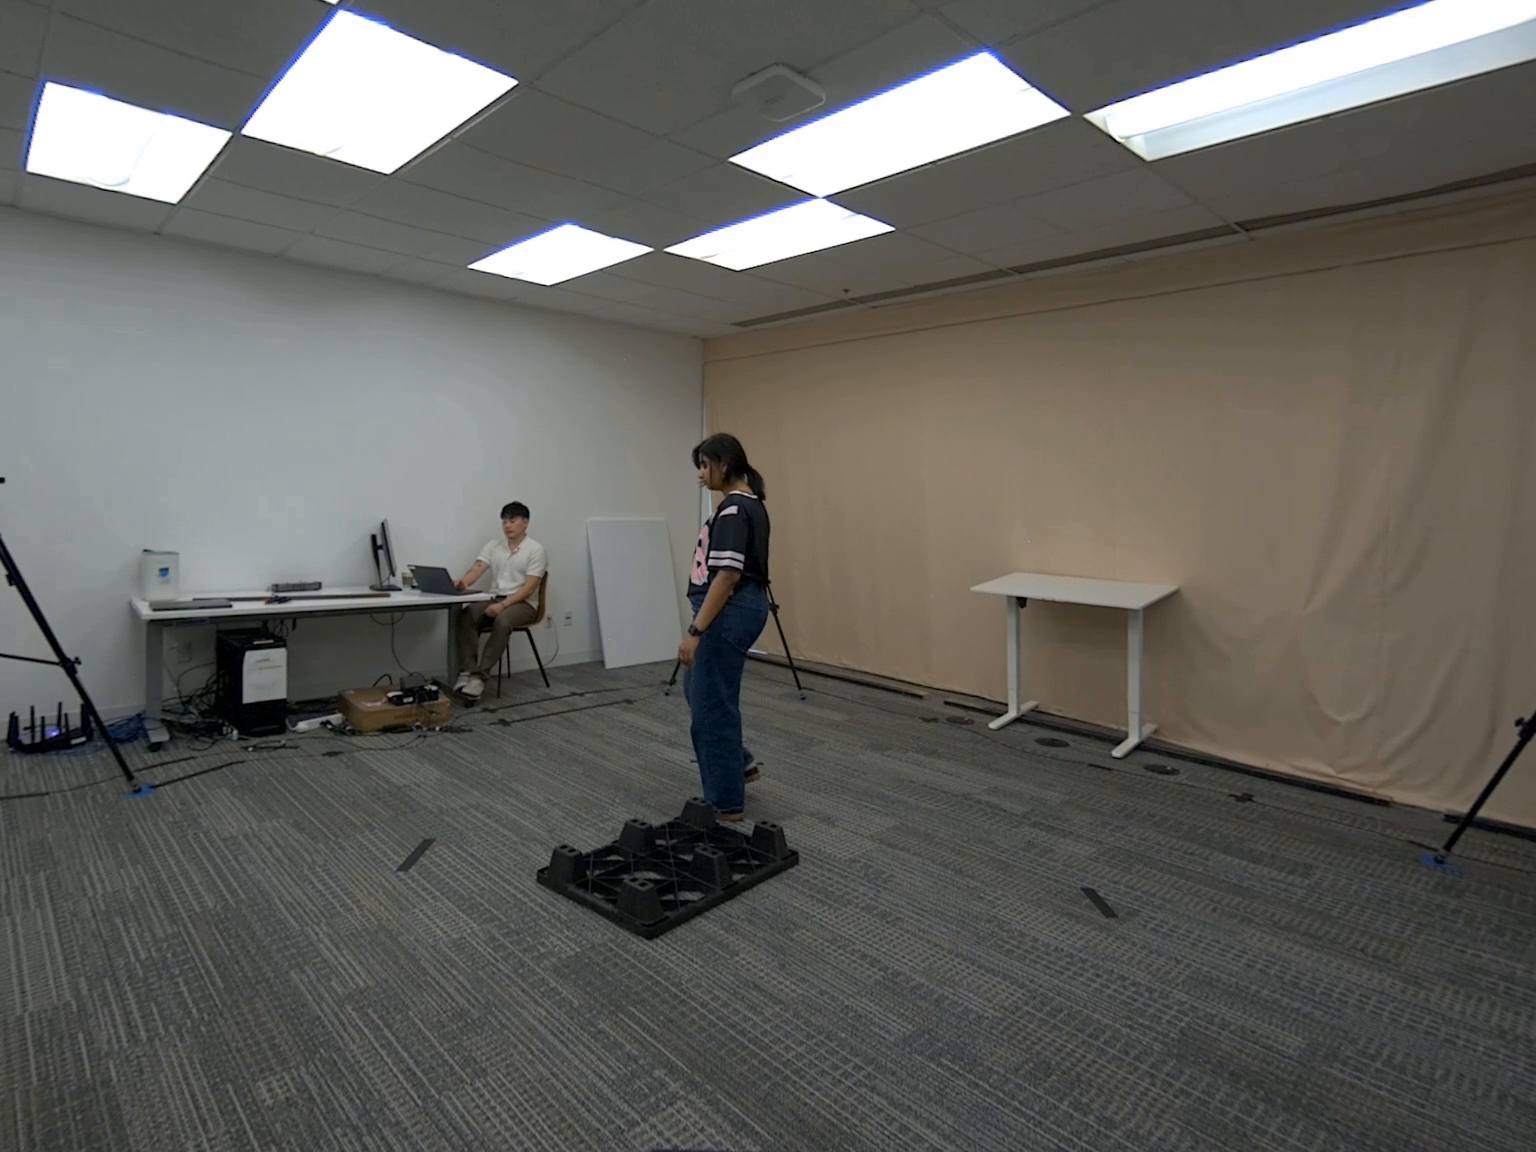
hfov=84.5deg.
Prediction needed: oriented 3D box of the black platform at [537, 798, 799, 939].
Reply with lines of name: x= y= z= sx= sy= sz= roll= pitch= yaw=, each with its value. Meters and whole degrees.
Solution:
black platform: x=-0.363 y=1.034 z=3.122 sx=0.620 sy=0.143 sz=0.788 roll=6 pitch=7 yaw=40
